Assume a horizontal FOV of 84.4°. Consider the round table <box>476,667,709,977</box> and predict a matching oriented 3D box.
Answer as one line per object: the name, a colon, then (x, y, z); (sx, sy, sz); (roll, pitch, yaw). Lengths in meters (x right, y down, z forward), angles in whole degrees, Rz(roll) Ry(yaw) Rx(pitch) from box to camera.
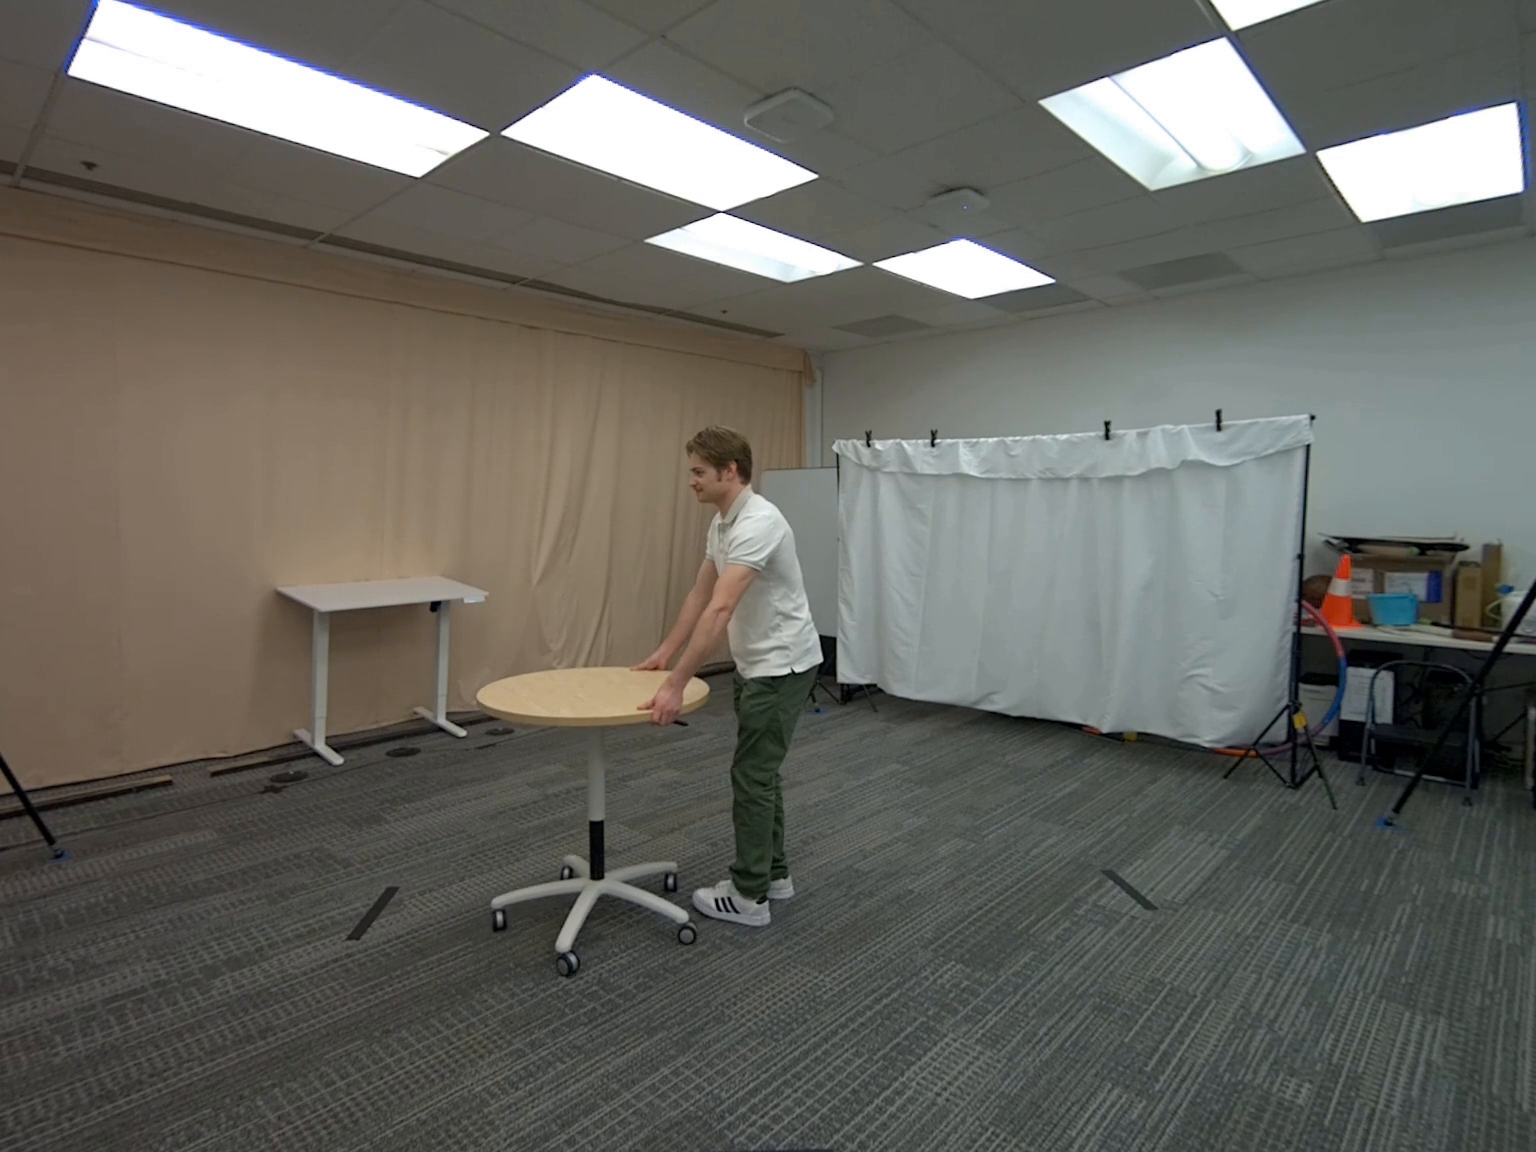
round table: (-0.572, 0.774, 2.834); (0.763, 0.792, 0.766); (0, 3, -2)
